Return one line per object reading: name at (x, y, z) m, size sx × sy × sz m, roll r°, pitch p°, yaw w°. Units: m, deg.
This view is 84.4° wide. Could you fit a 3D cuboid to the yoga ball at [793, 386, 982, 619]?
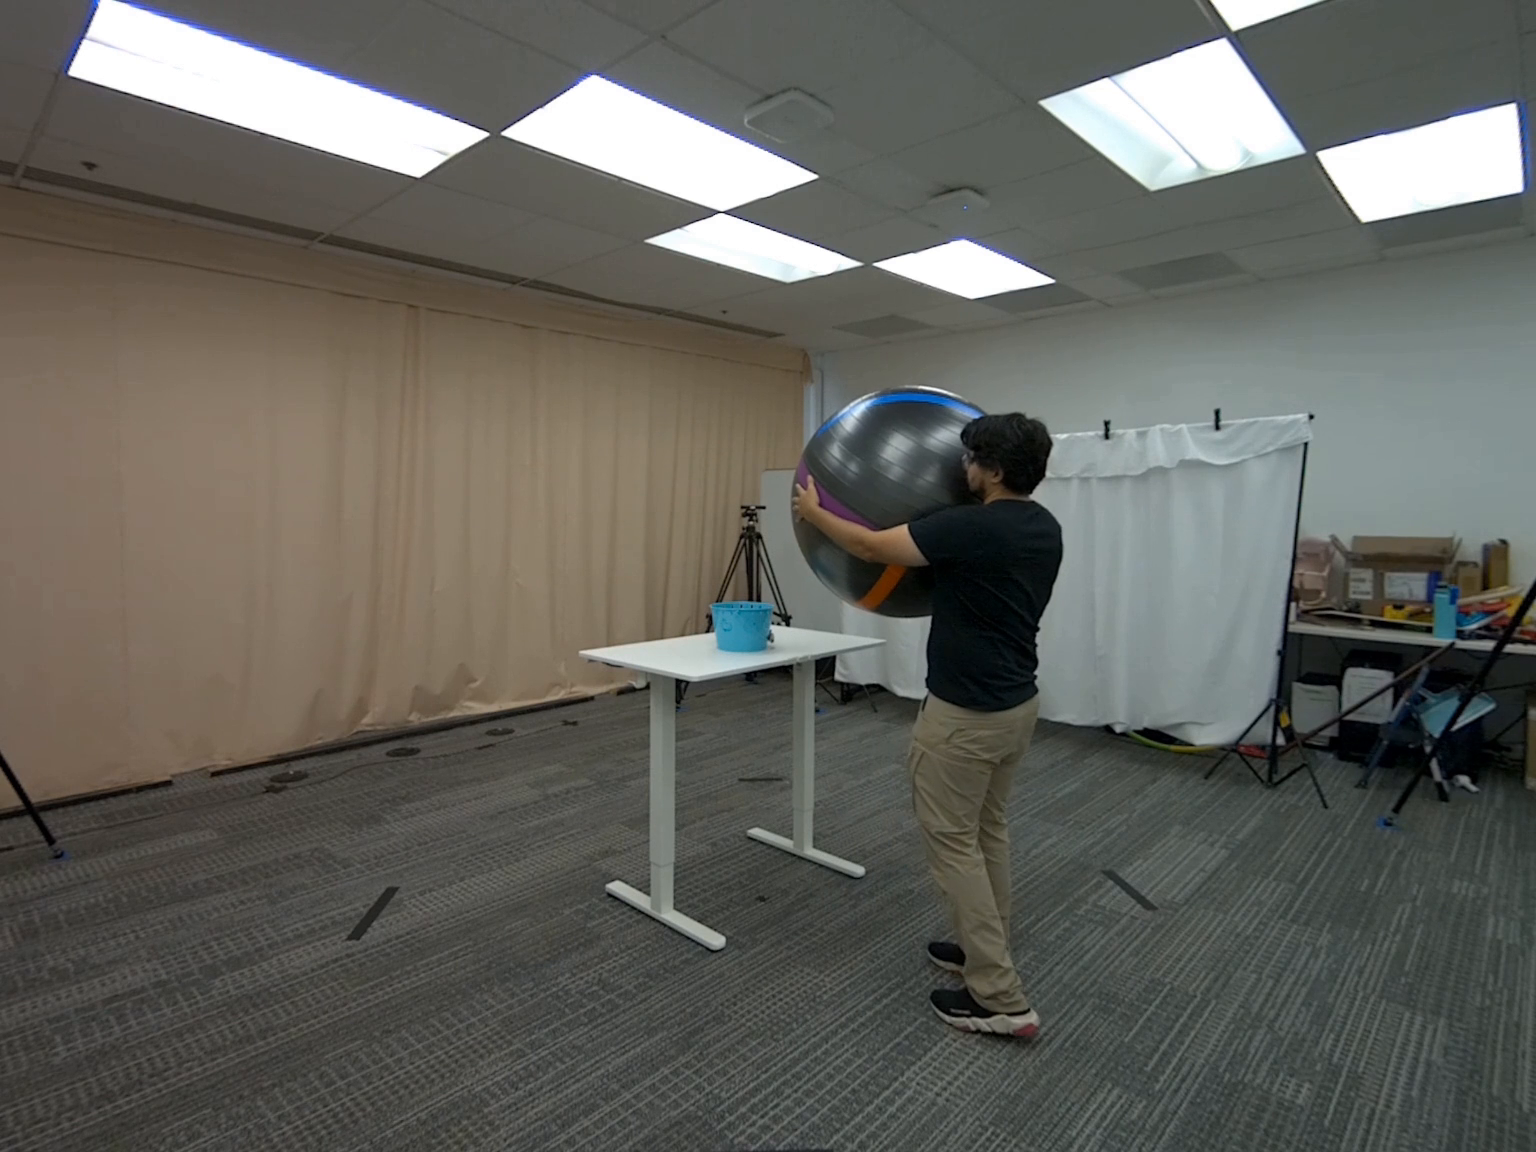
yoga ball at (0.468, -0.236, 2.774) m, size 0.757 × 0.756 × 0.760 m, roll 0°, pitch 4°, yaw -2°
